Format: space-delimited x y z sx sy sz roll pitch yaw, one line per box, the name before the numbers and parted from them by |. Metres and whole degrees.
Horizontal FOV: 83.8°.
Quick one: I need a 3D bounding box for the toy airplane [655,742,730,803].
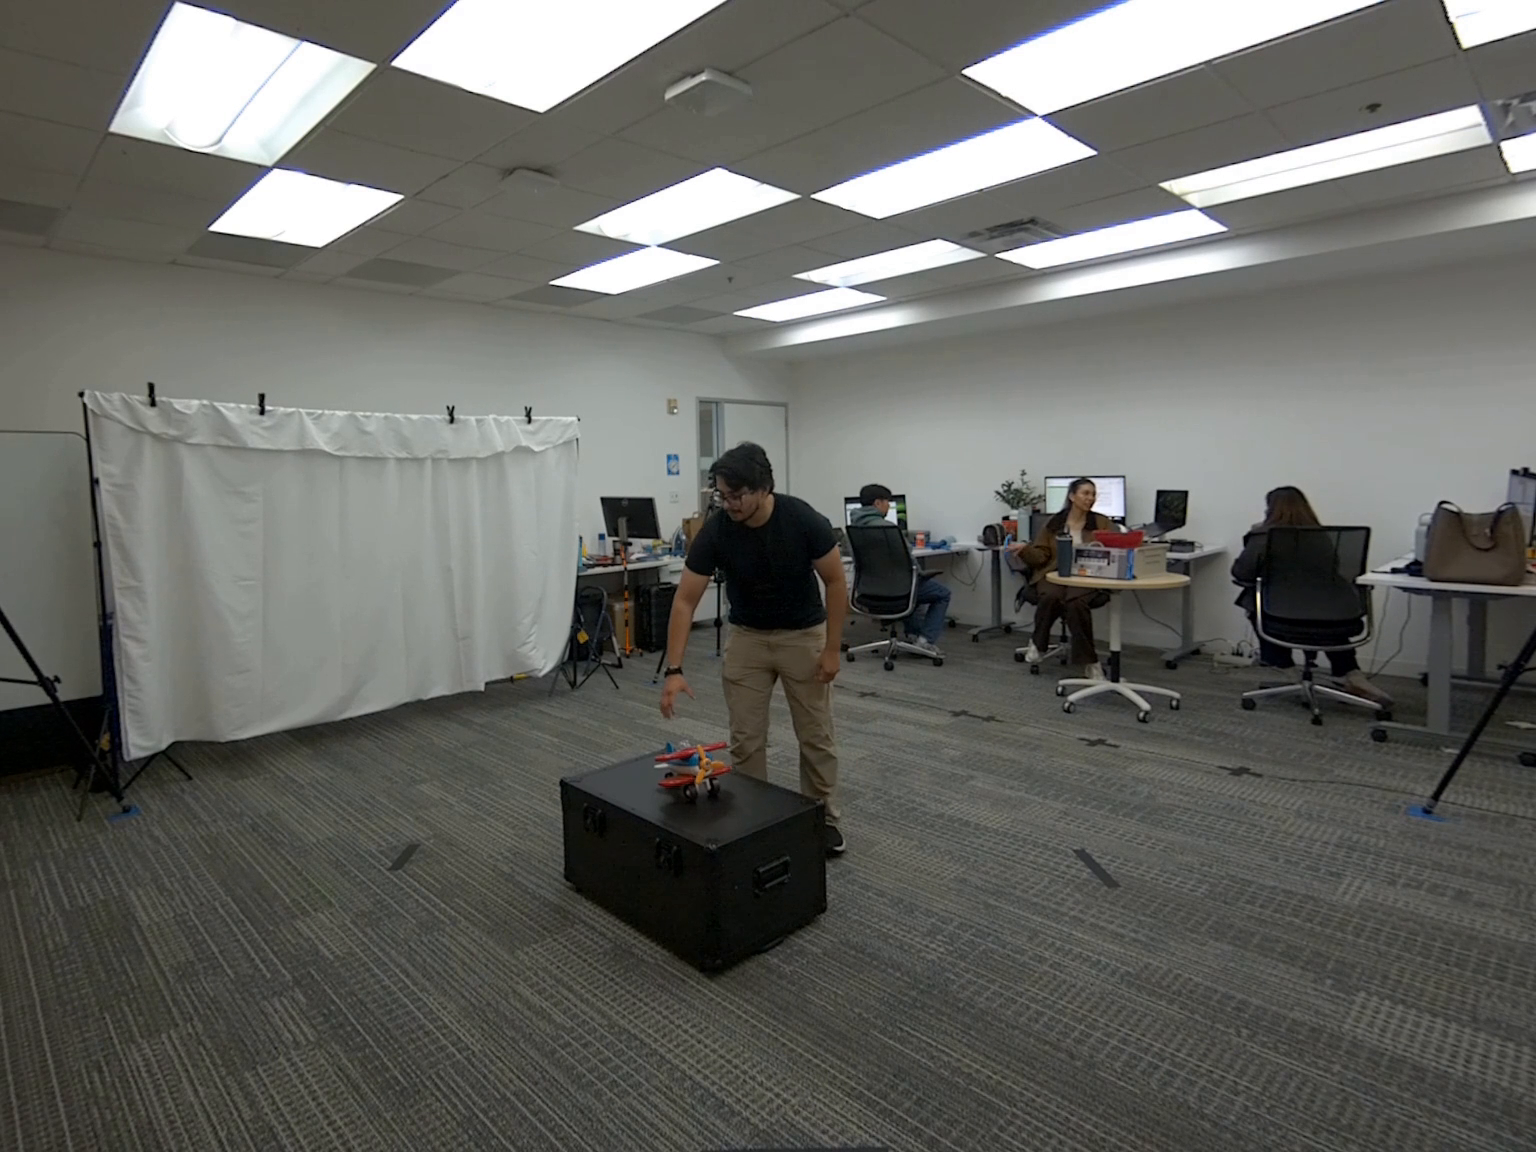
toy airplane | -0.272 0.626 2.792 0.266 0.155 0.246 4 7 27
